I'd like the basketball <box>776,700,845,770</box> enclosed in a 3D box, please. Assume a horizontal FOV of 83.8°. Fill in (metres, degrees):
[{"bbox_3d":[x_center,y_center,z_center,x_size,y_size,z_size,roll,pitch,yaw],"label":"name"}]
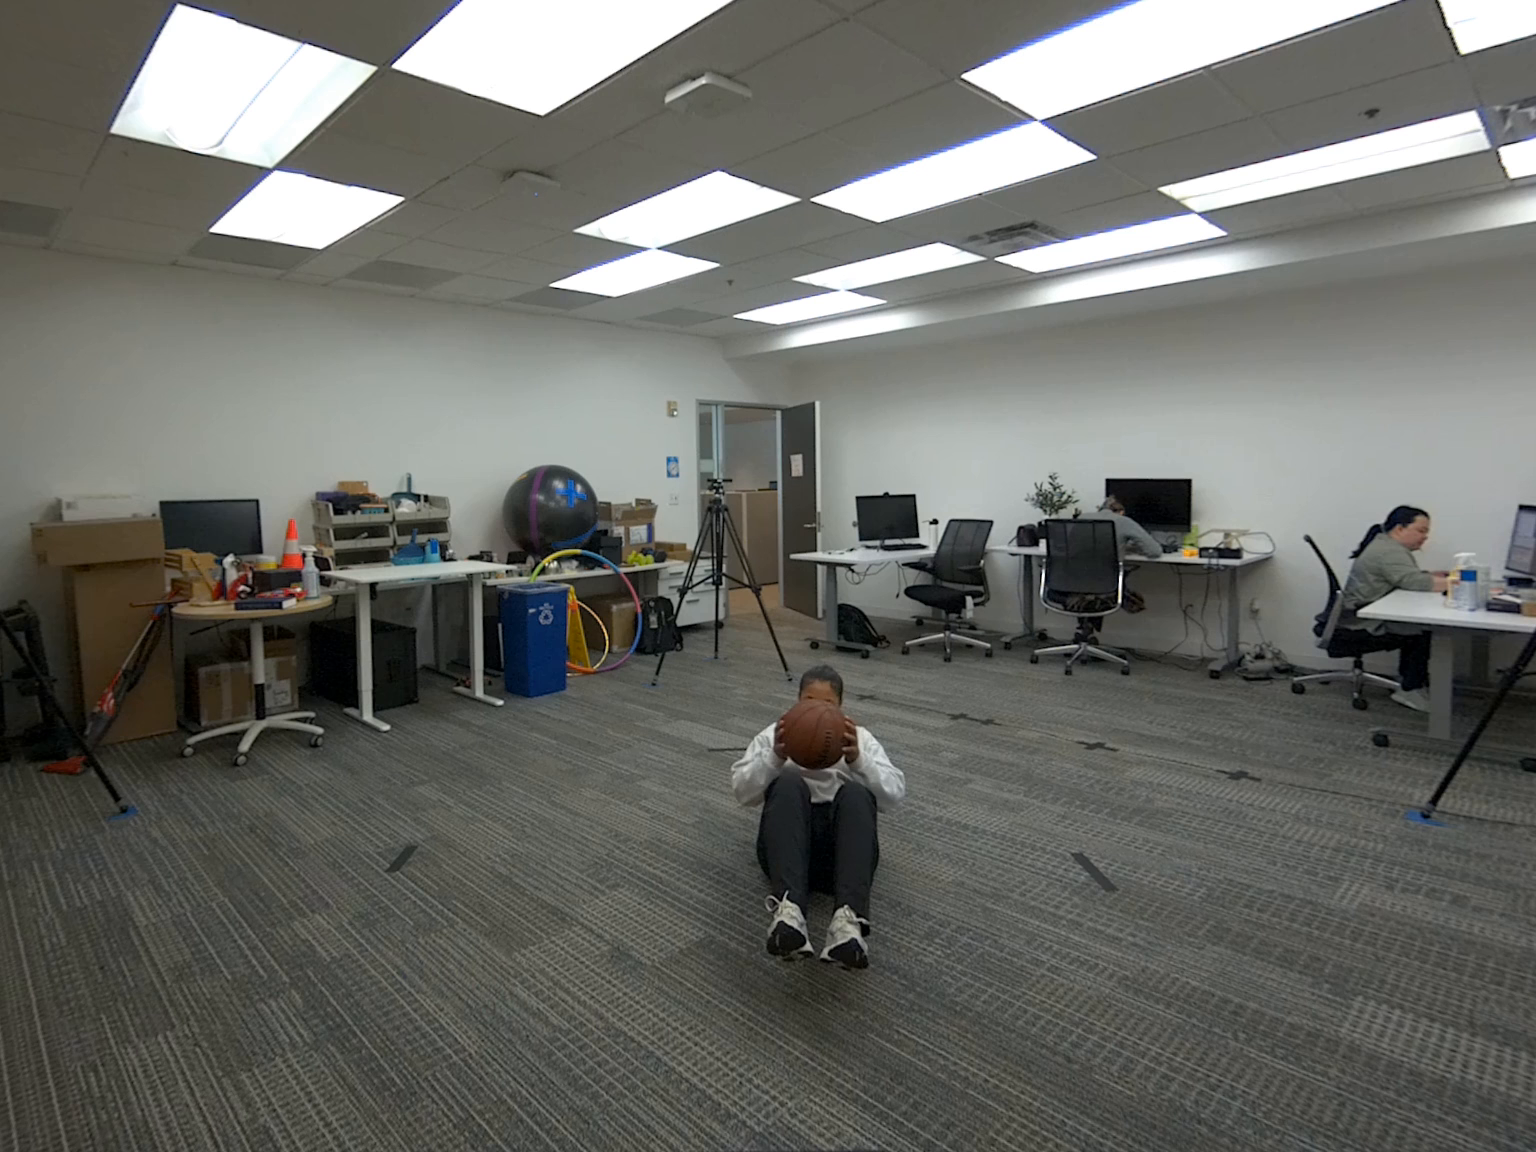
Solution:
[{"bbox_3d":[0.171,0.560,2.952,0.236,0.235,0.237,-1,5,-2],"label":"basketball"}]
